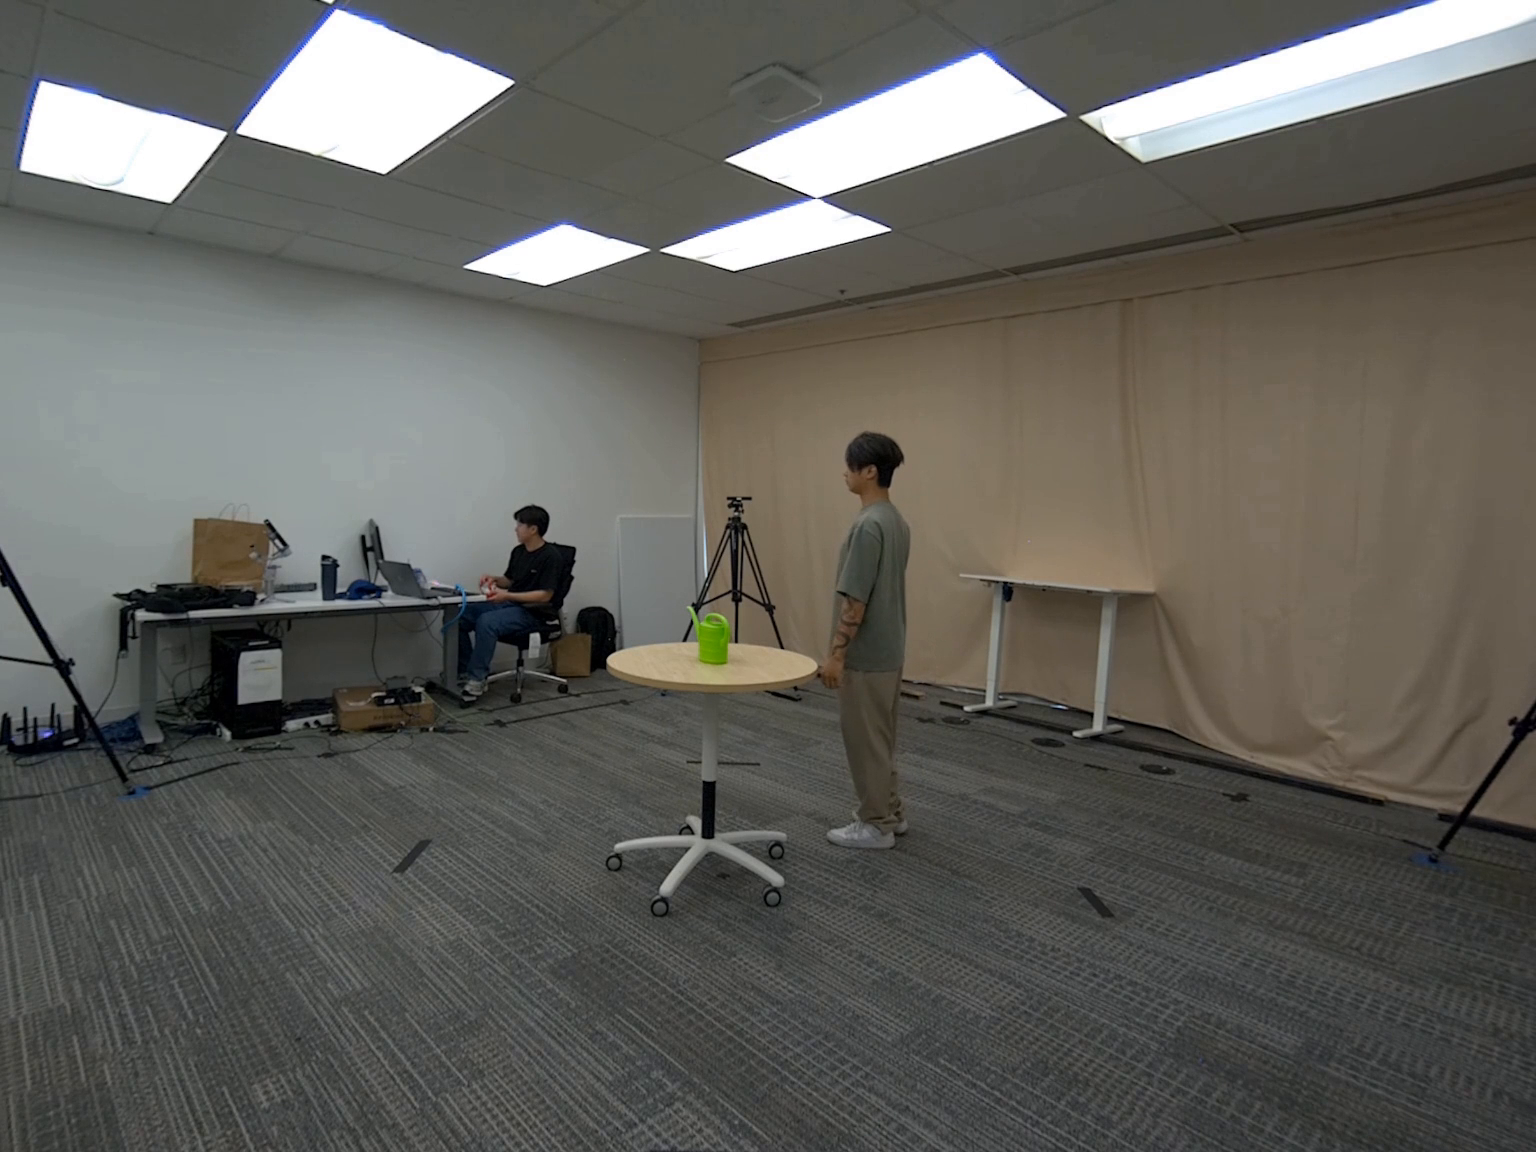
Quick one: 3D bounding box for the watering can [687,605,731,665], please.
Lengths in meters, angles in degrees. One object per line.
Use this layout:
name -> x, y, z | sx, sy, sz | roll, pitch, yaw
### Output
watering can -> -0.218, 0.221, 3.104 | 0.096, 0.176, 0.284 | 1, 6, -22
